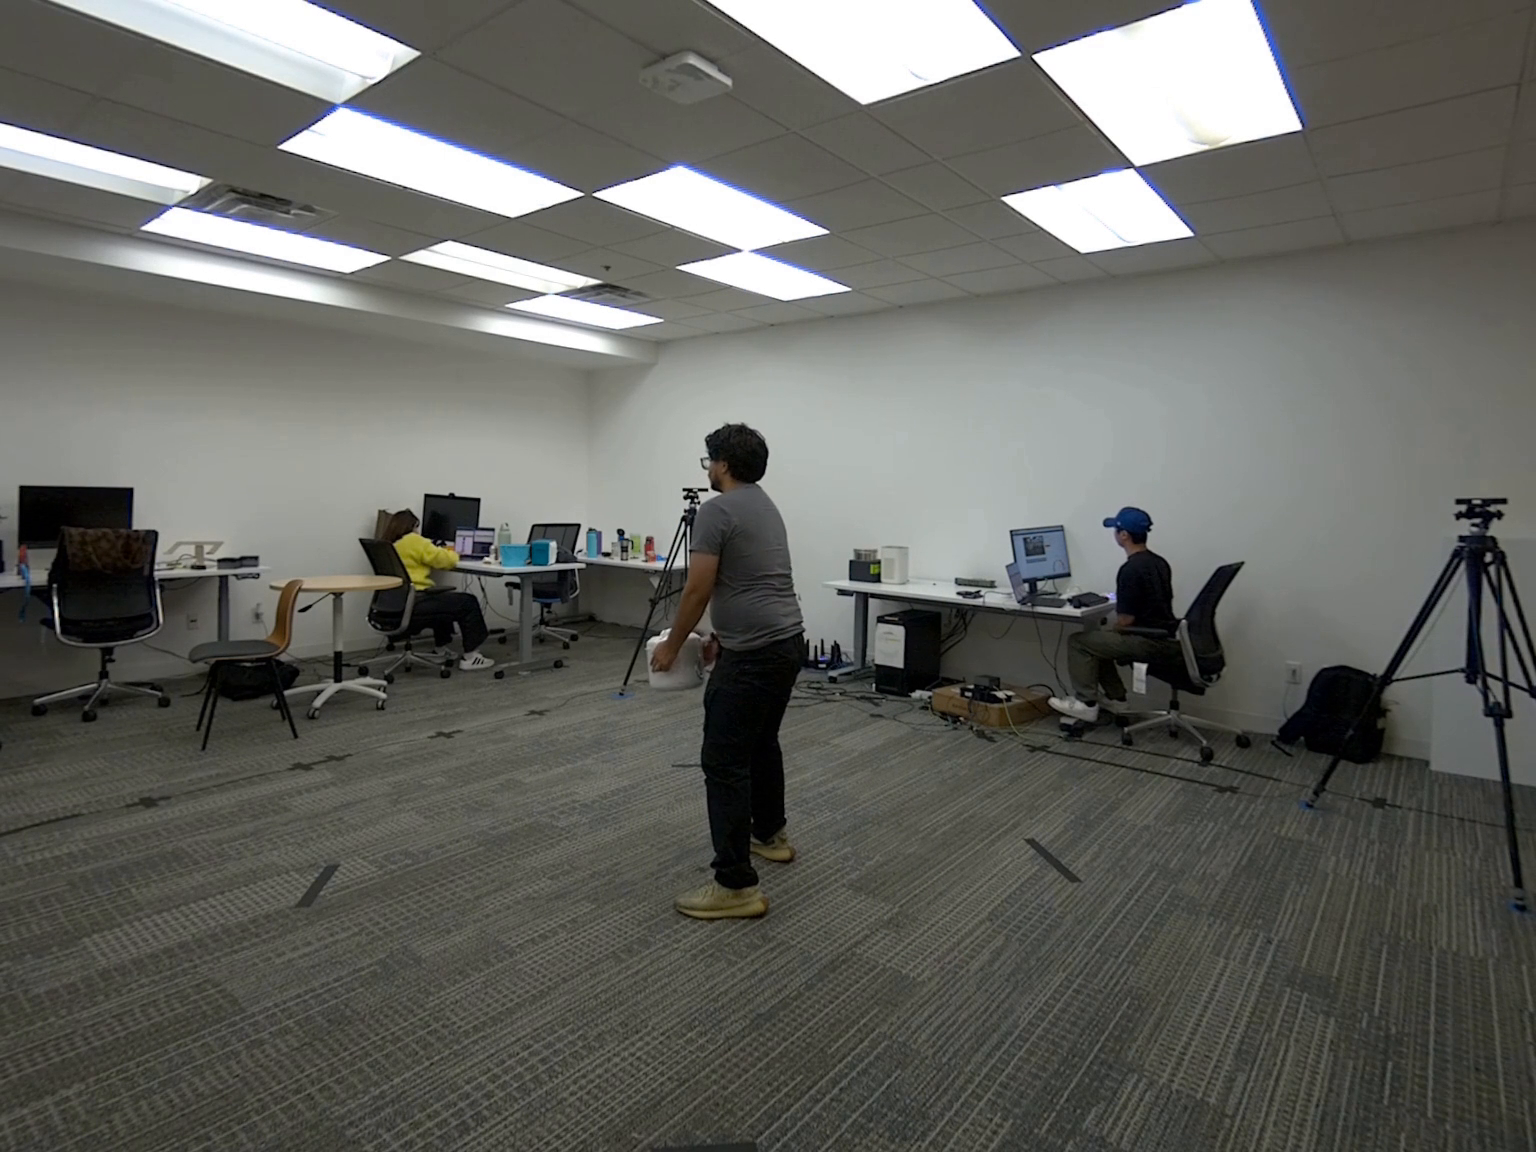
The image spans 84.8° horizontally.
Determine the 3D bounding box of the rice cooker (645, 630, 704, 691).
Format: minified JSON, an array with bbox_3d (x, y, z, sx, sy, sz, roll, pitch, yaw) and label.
[{"bbox_3d":[-0.355,0.312,3.208,0.222,0.234,0.214,-8,-6,26],"label":"rice cooker"}]
